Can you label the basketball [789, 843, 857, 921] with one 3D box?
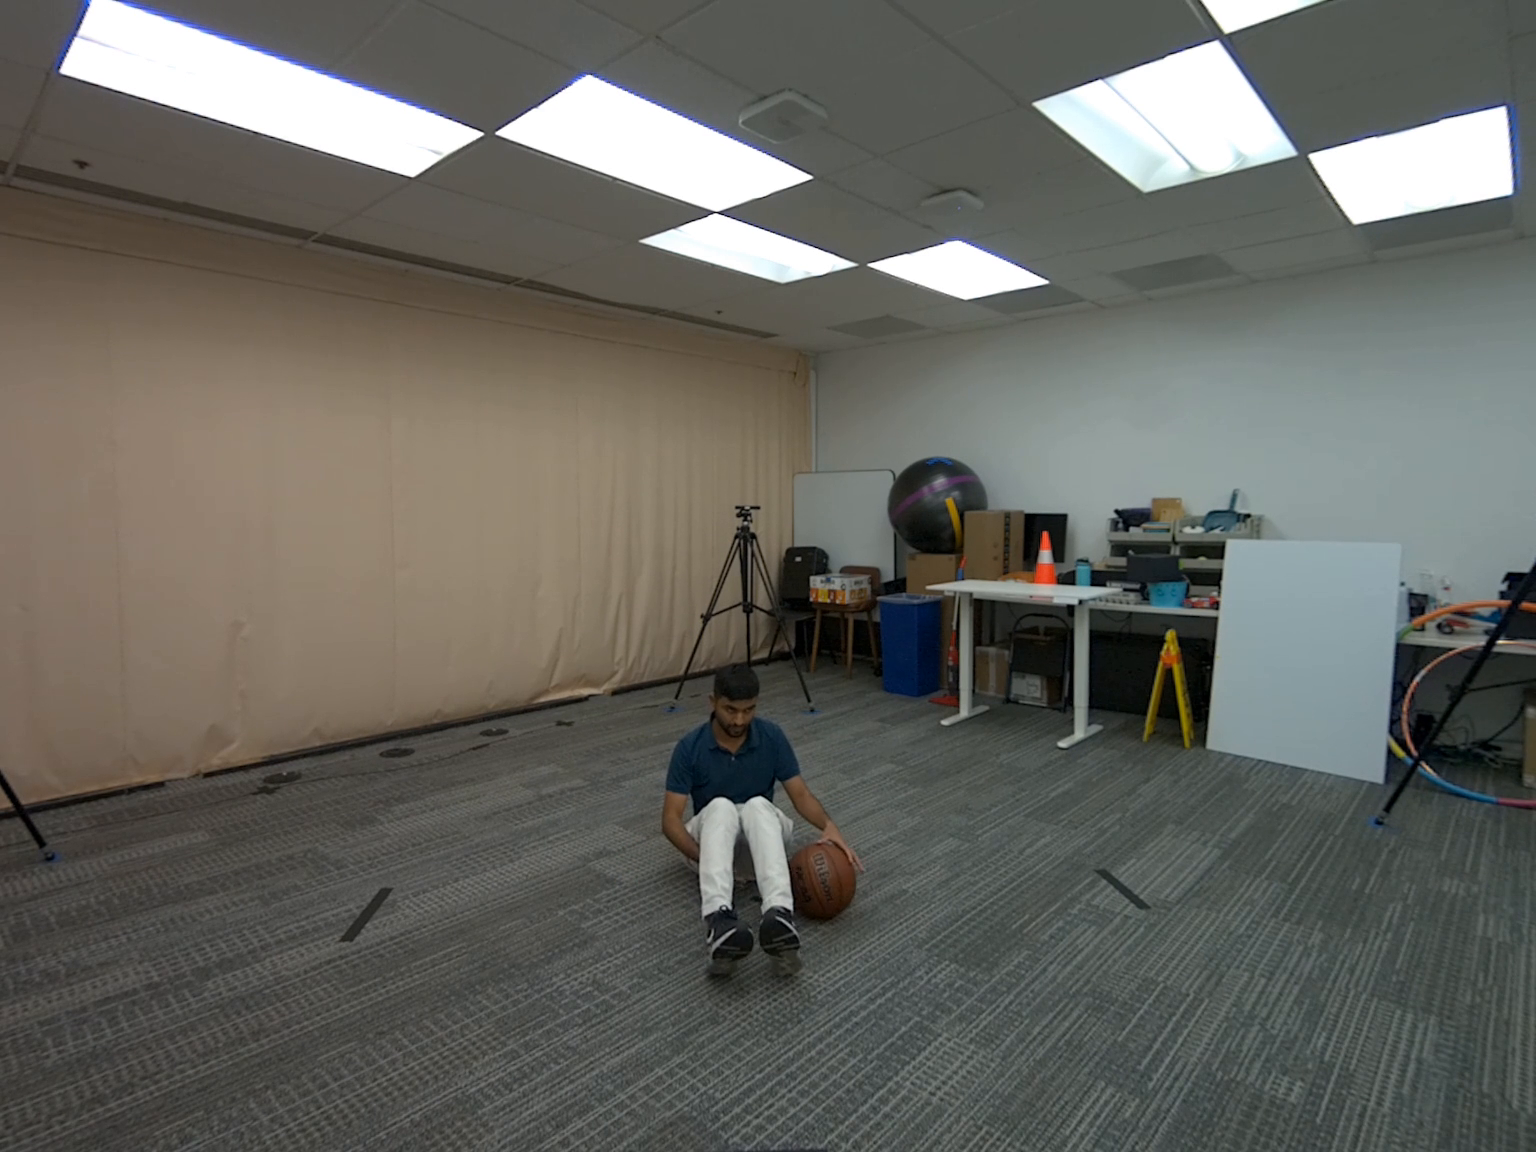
[{"bbox_3d":[0.184,1.027,2.861,0.236,0.235,0.237,0,4,-2],"label":"basketball"}]
